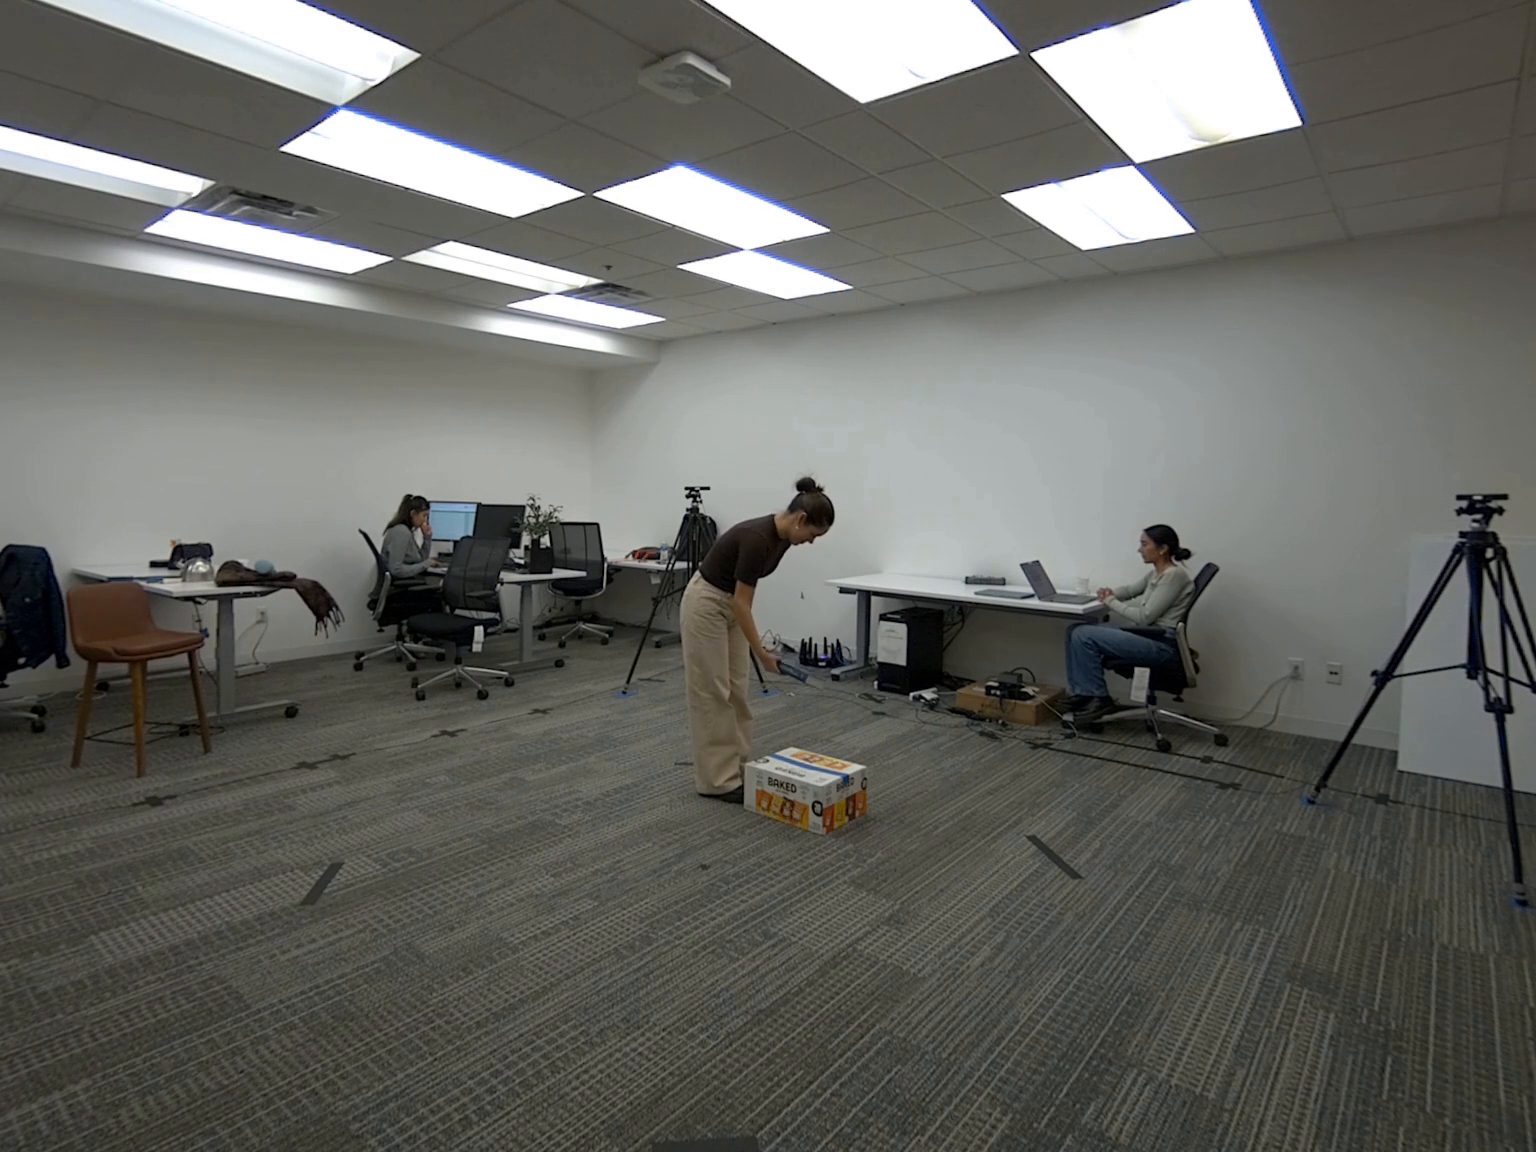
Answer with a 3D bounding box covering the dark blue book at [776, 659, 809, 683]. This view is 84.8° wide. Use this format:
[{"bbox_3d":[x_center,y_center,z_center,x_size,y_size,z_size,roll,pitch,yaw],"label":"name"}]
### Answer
[{"bbox_3d":[0.100,0.419,3.687,0.255,0.045,0.157,22,-1,38],"label":"dark blue book"}]
